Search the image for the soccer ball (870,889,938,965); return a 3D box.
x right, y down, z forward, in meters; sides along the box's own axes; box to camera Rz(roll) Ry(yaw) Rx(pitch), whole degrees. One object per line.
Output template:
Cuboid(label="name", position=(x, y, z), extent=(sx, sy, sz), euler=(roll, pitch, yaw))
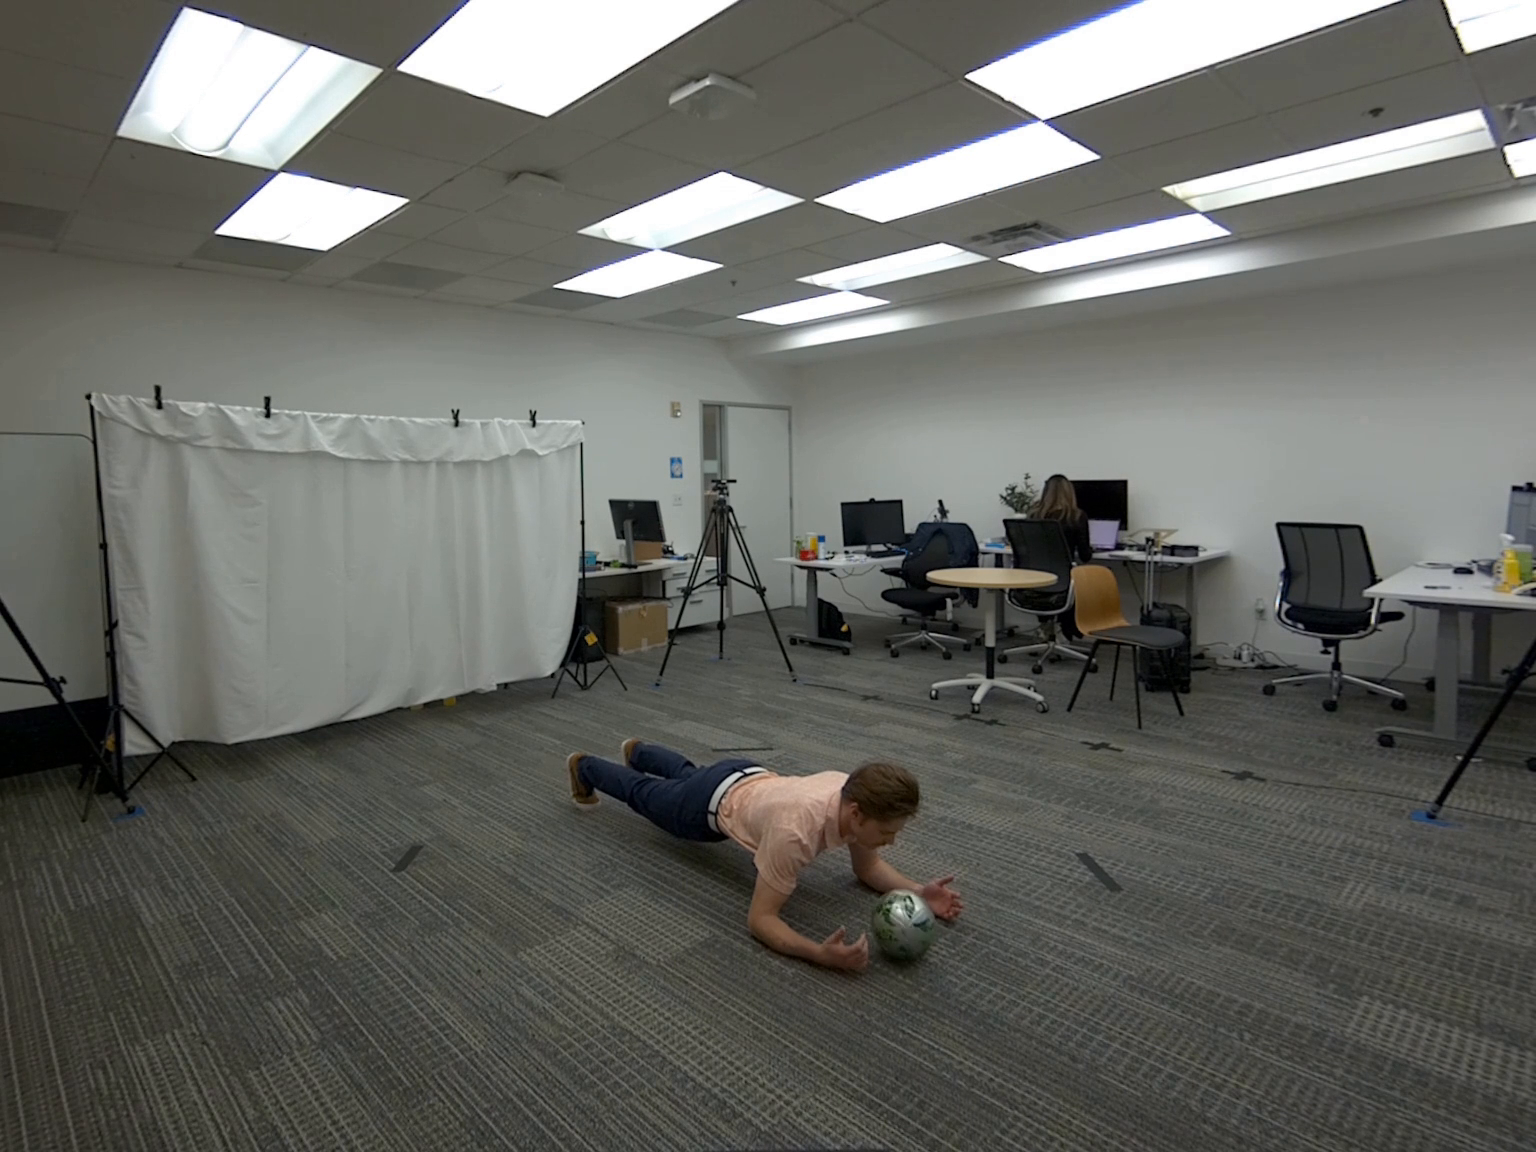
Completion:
Cuboid(label="soccer ball", position=(0.400, 1.021, 2.485), extent=(0.187, 0.187, 0.188), euler=(-1, 5, -2))
